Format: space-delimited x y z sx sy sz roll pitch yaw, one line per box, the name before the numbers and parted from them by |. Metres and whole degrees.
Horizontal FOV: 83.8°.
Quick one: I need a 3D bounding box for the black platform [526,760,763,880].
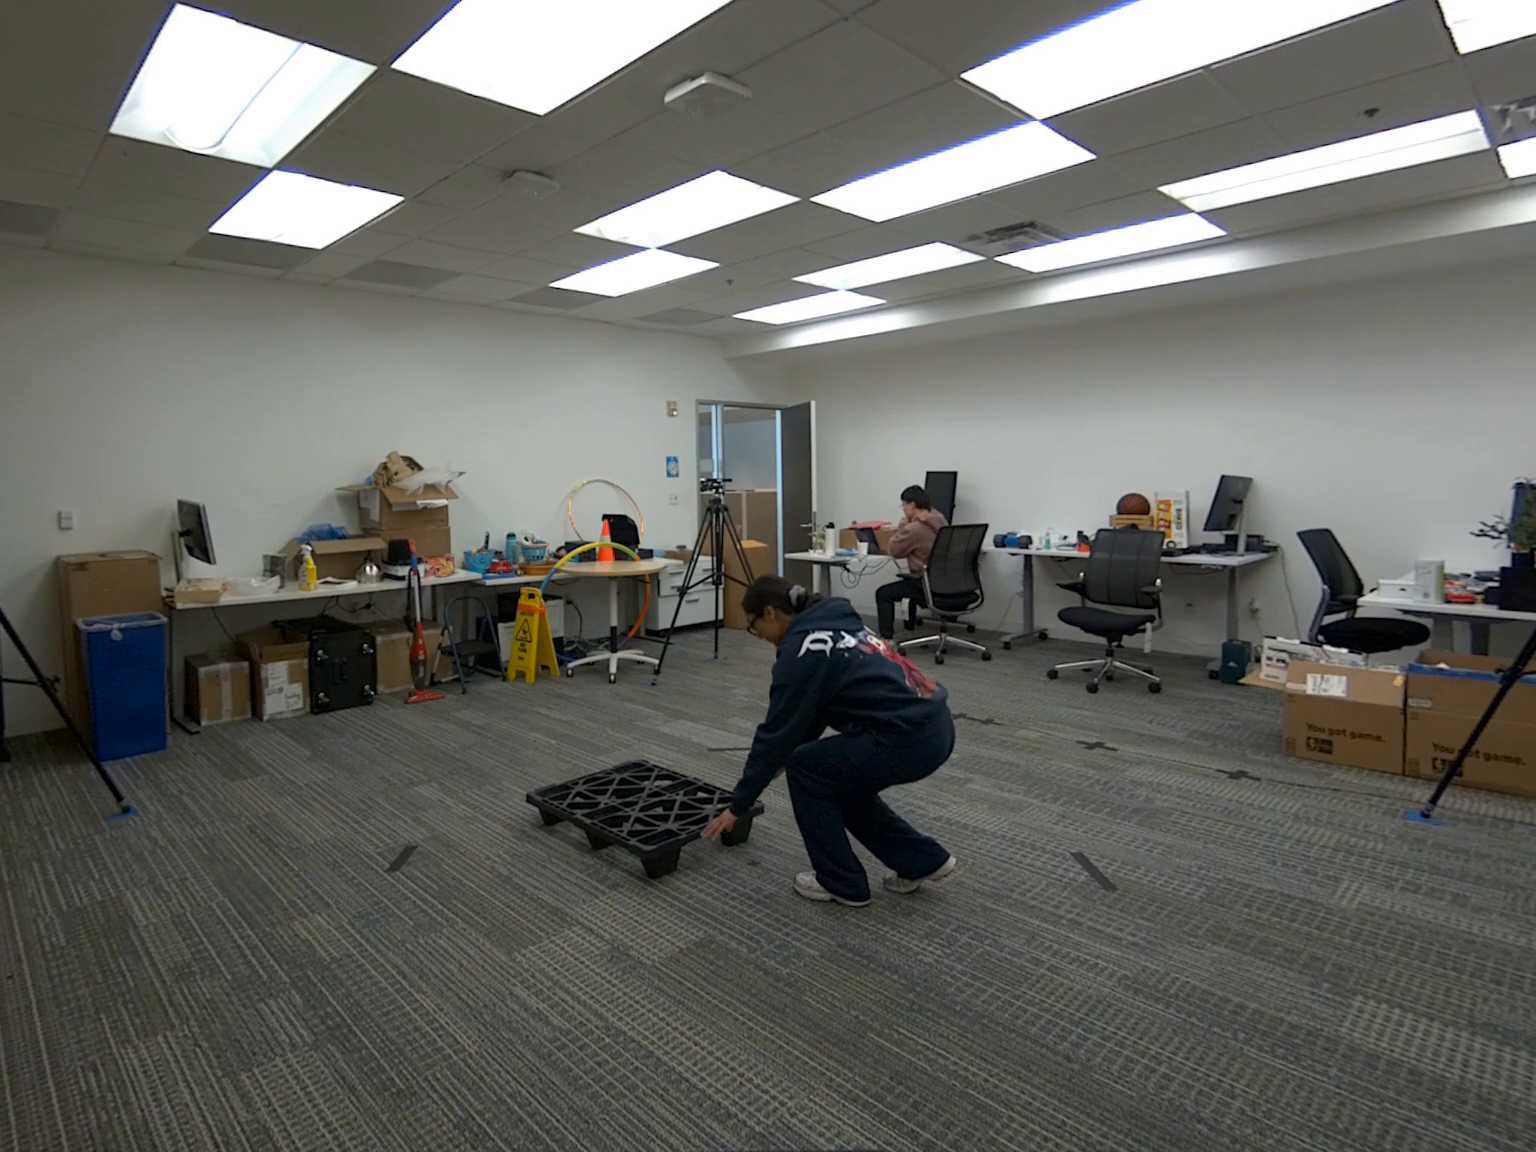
black platform | -0.495 0.952 3.405 0.830 0.142 0.590 5 9 45
